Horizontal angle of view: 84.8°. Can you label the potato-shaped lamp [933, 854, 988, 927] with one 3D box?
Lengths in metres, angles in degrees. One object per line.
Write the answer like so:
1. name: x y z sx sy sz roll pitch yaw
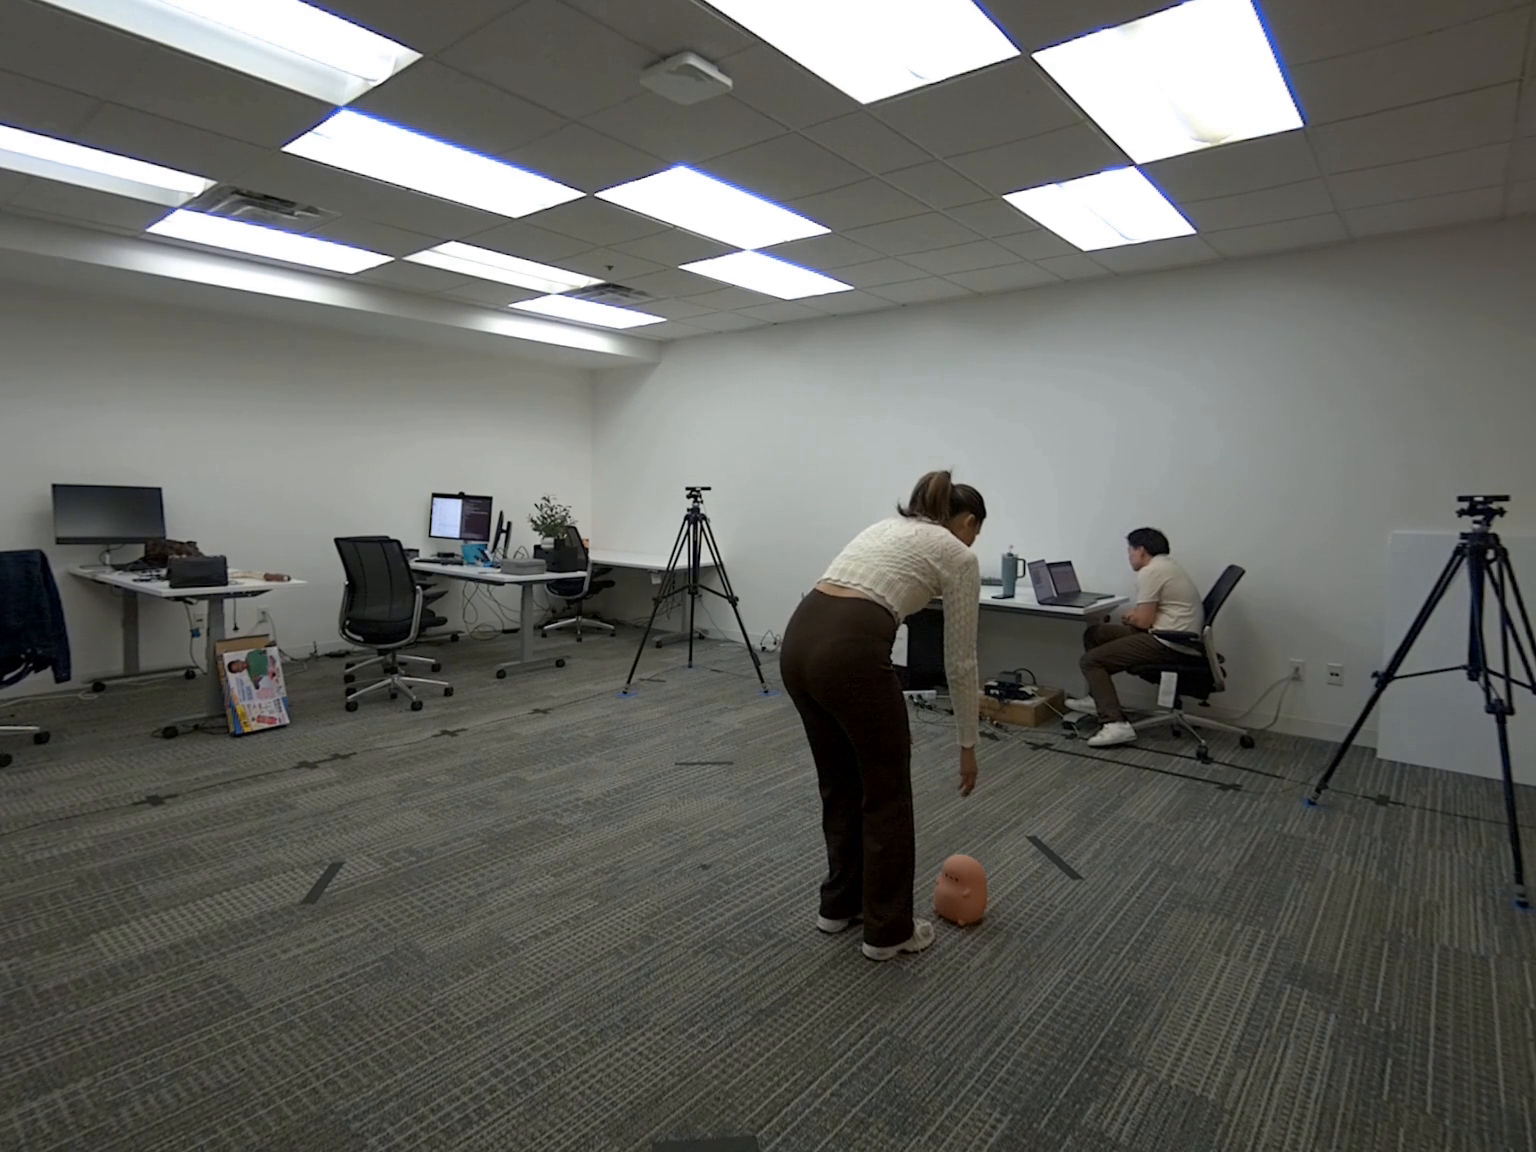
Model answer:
1. potato-shaped lamp: 0.627 1.014 2.796 0.166 0.198 0.170 1 3 -40
